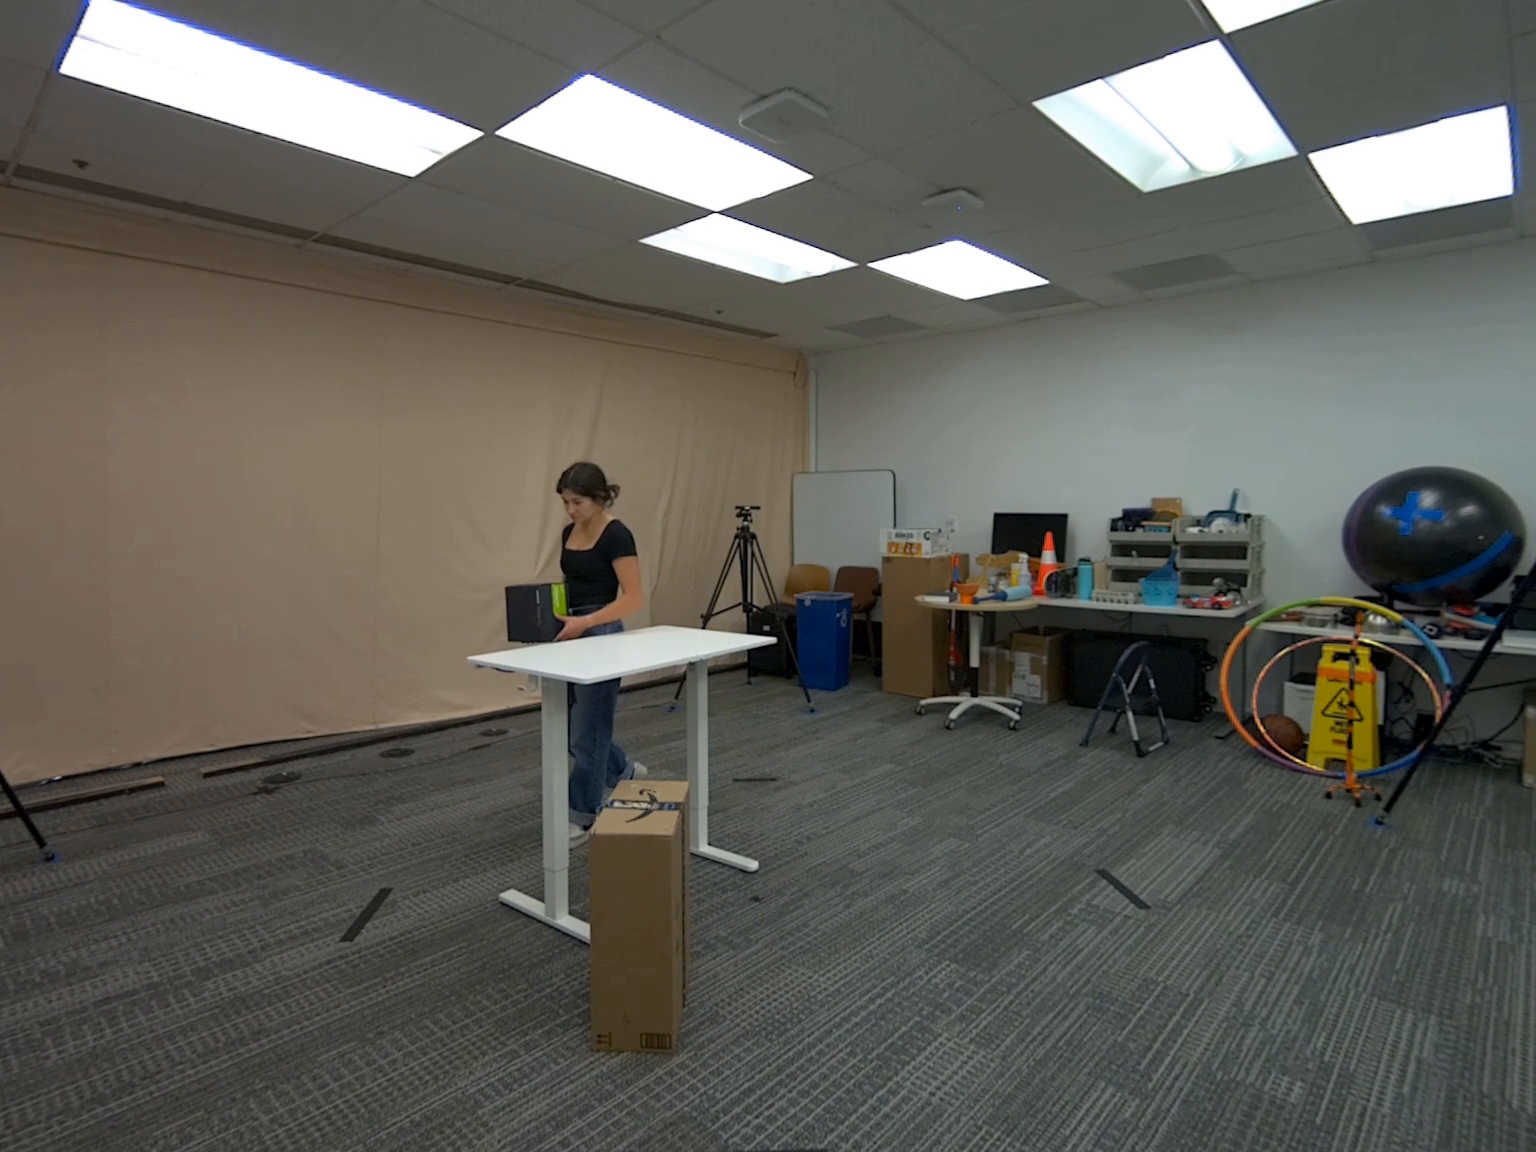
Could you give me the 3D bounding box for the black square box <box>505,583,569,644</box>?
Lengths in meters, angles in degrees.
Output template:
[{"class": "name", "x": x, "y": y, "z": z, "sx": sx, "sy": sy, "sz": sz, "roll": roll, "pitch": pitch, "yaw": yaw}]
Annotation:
[{"class": "black square box", "x": -0.921, "y": 0.146, "z": 3.393, "sx": 0.224, "sy": 0.228, "sz": 0.151, "roll": -2, "pitch": 1, "yaw": 39}]
